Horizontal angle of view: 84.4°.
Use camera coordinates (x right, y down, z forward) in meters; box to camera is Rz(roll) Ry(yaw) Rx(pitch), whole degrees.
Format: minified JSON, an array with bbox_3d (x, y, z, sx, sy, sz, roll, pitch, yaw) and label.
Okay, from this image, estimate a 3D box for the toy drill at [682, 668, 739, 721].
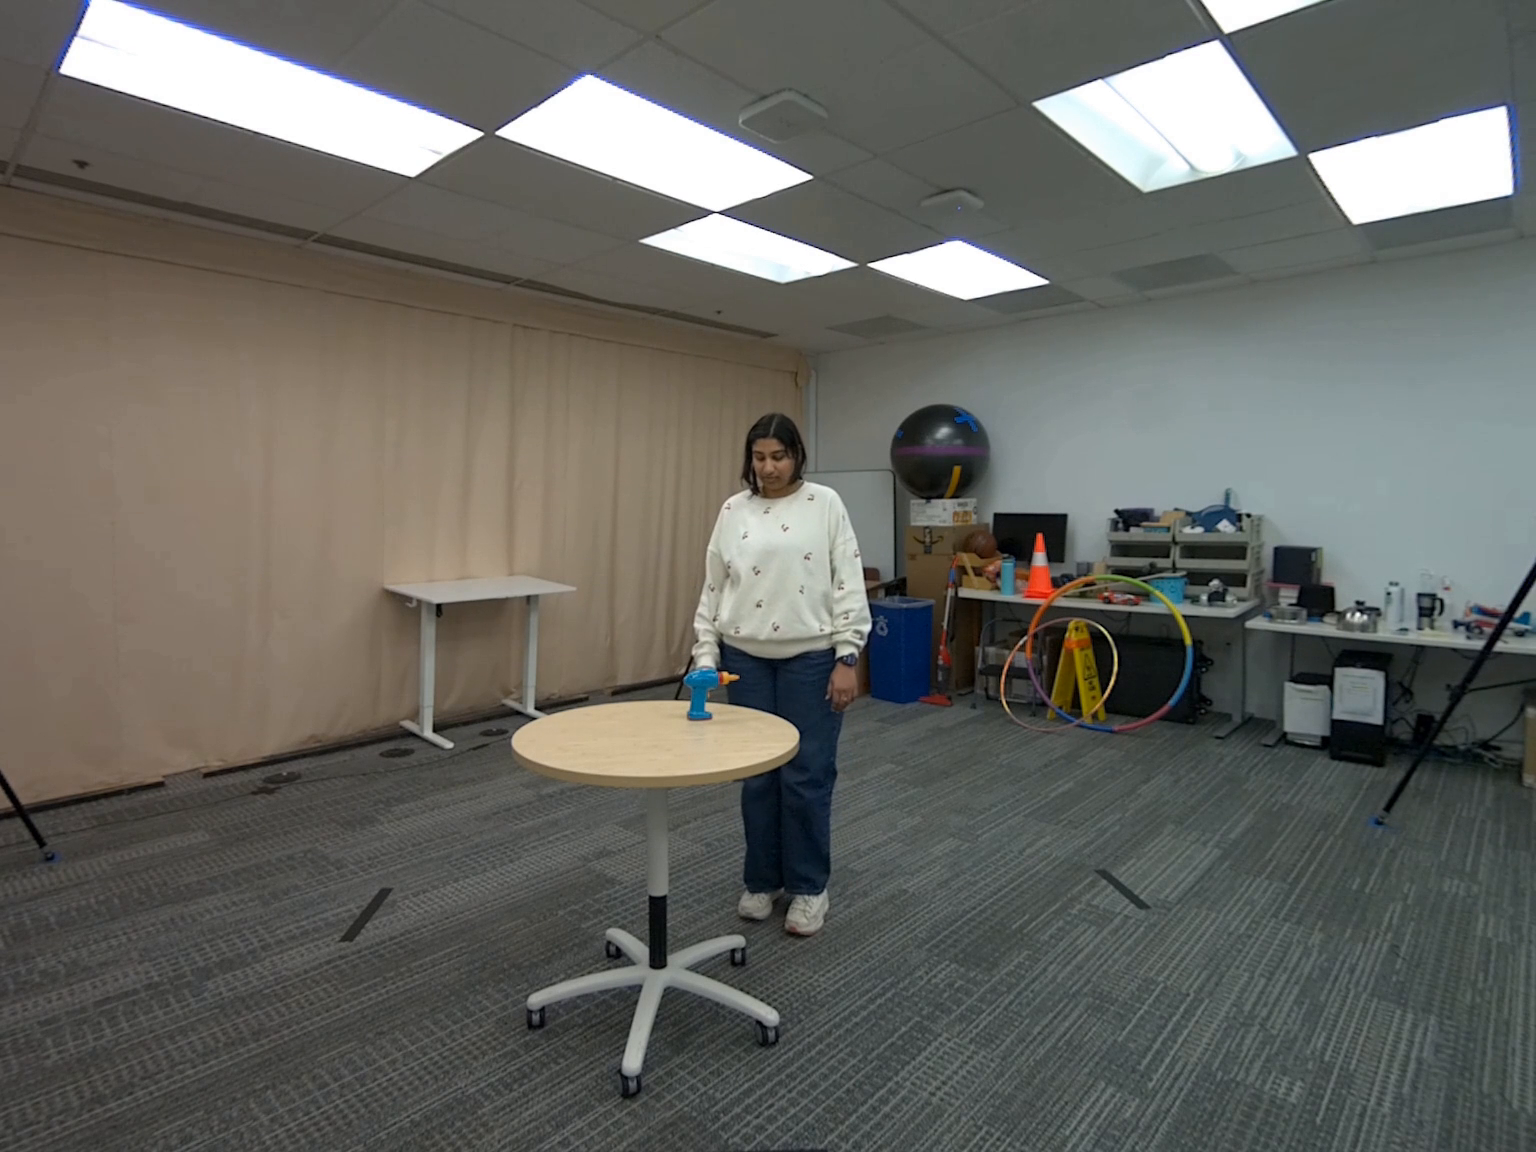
[{"bbox_3d":[-0.160,0.336,2.431,0.166,0.146,0.062,-1,2,-23],"label":"toy drill"}]
